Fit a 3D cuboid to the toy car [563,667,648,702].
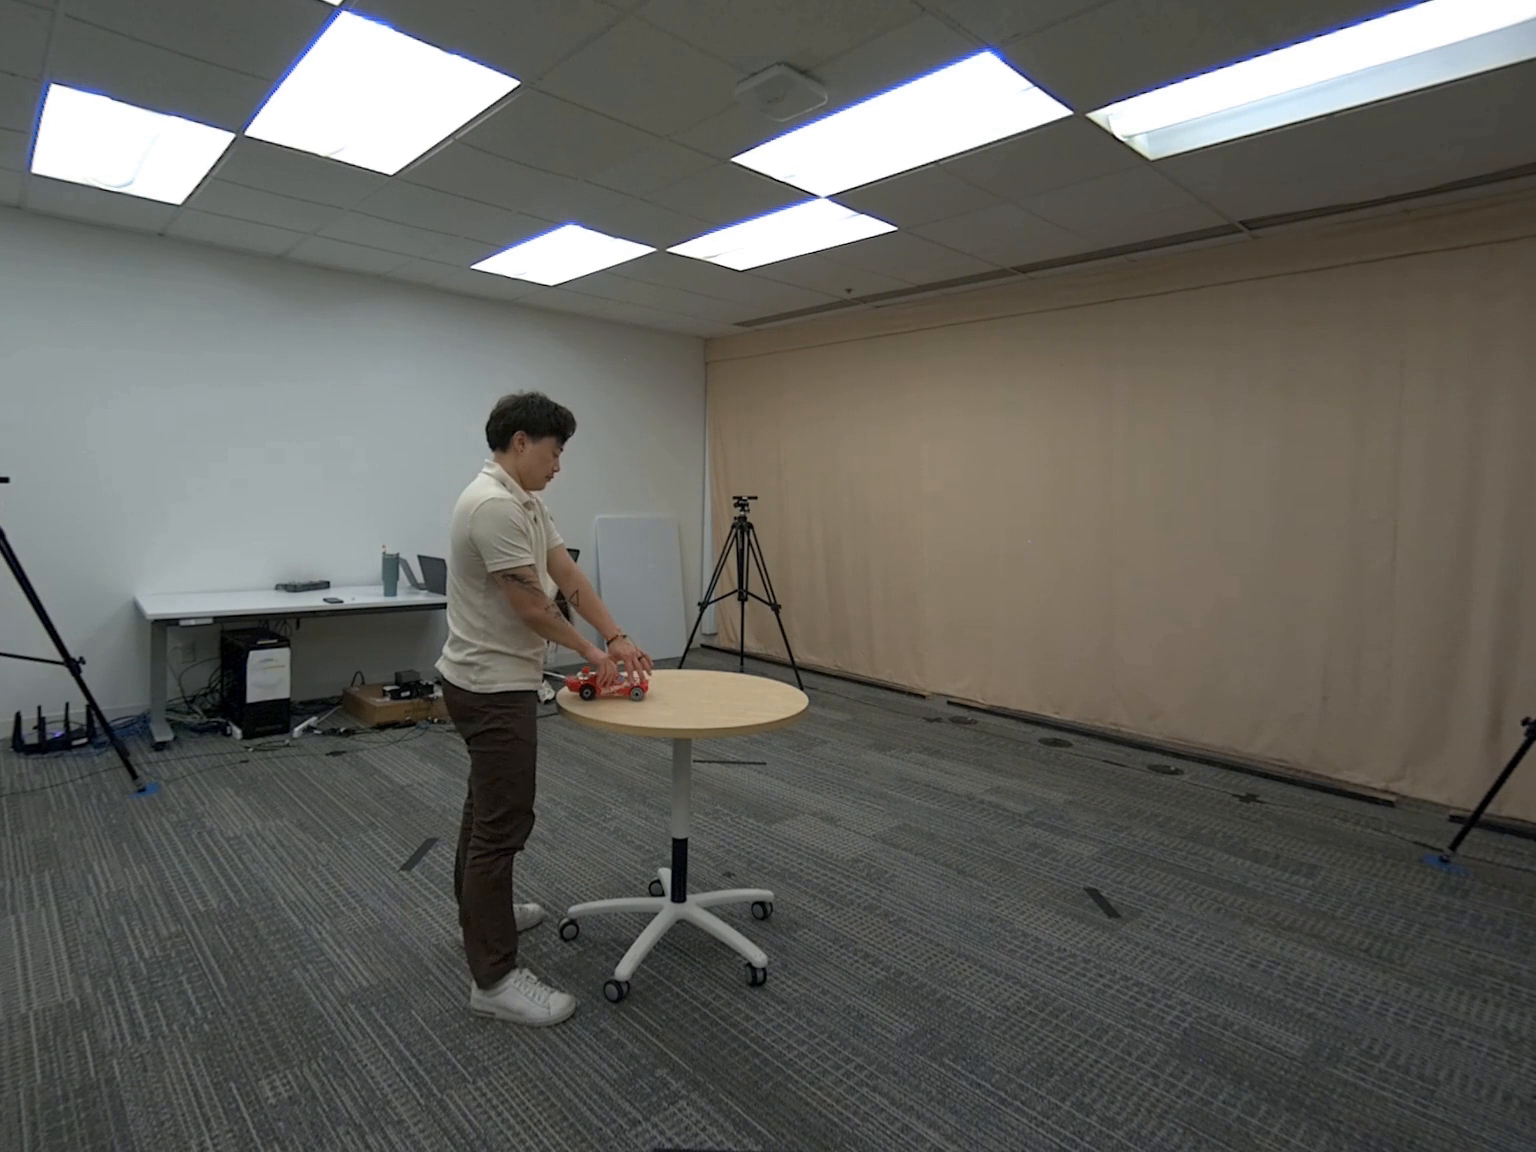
[{"bbox_3d":[-0.496,0.336,2.513,0.253,0.083,0.131,12,2,-5],"label":"toy car"}]
